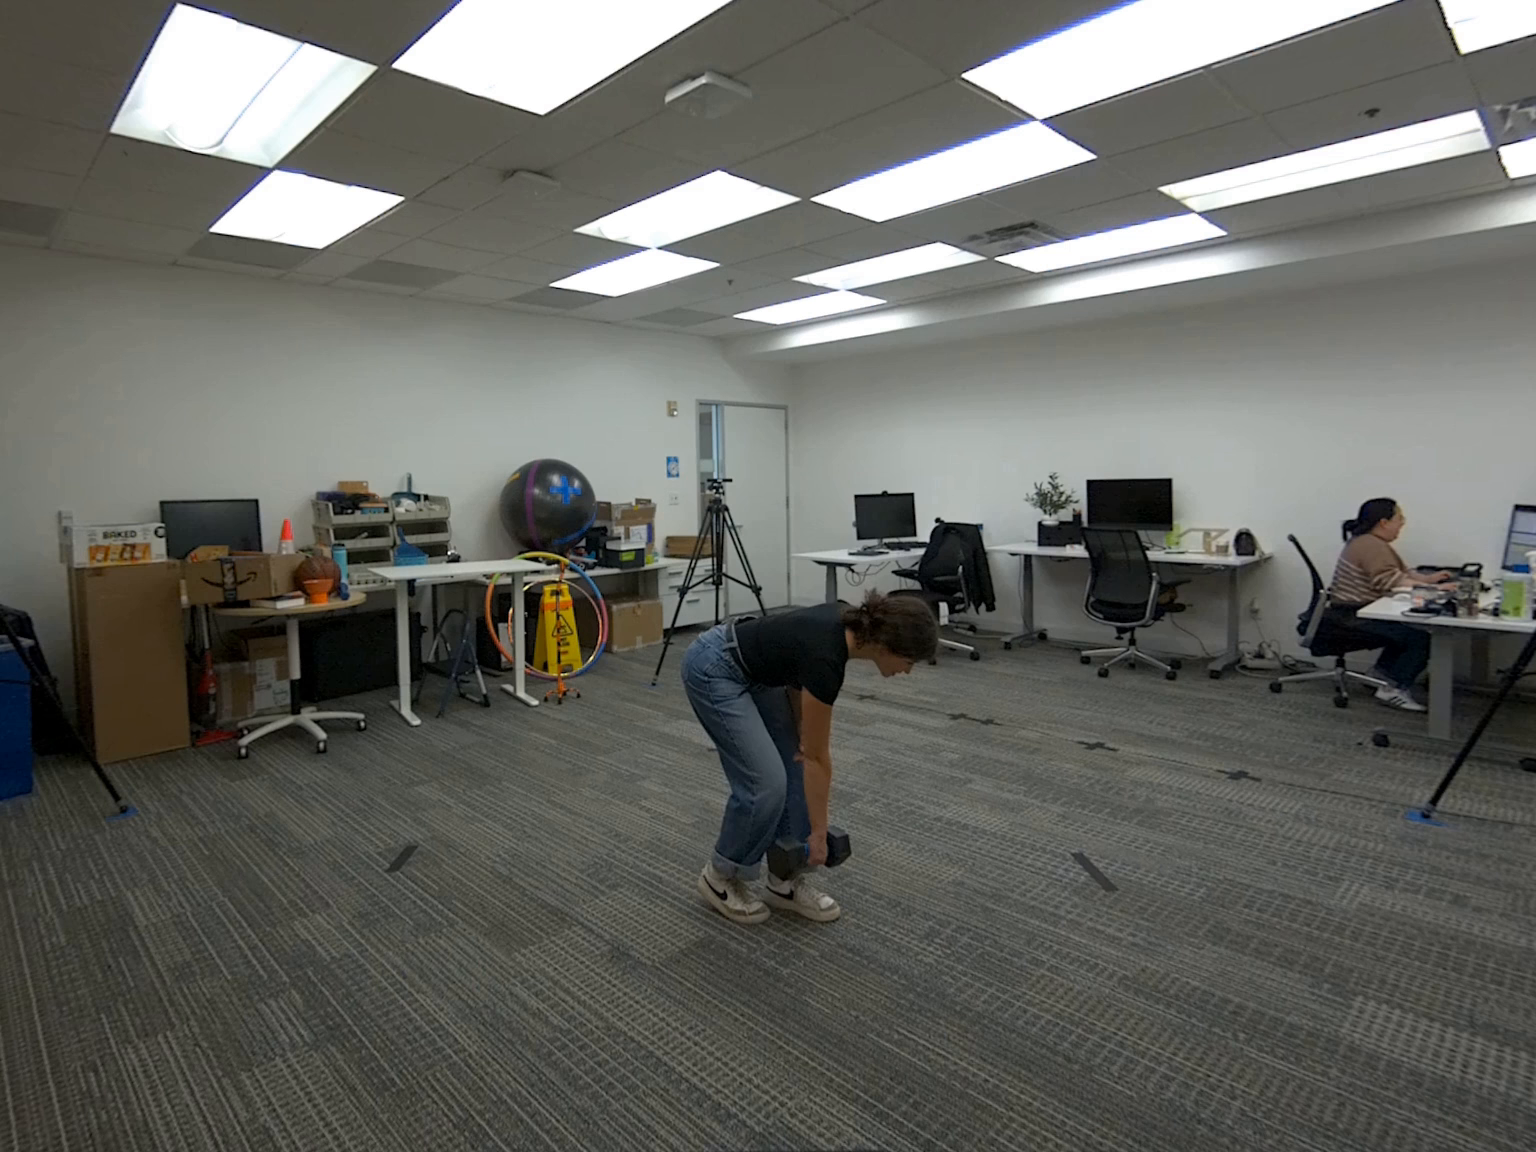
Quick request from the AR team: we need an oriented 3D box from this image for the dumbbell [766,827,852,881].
[{"bbox_3d":[0.121,0.849,2.643,0.284,0.122,0.112,4,43,-45],"label":"dumbbell"}]
